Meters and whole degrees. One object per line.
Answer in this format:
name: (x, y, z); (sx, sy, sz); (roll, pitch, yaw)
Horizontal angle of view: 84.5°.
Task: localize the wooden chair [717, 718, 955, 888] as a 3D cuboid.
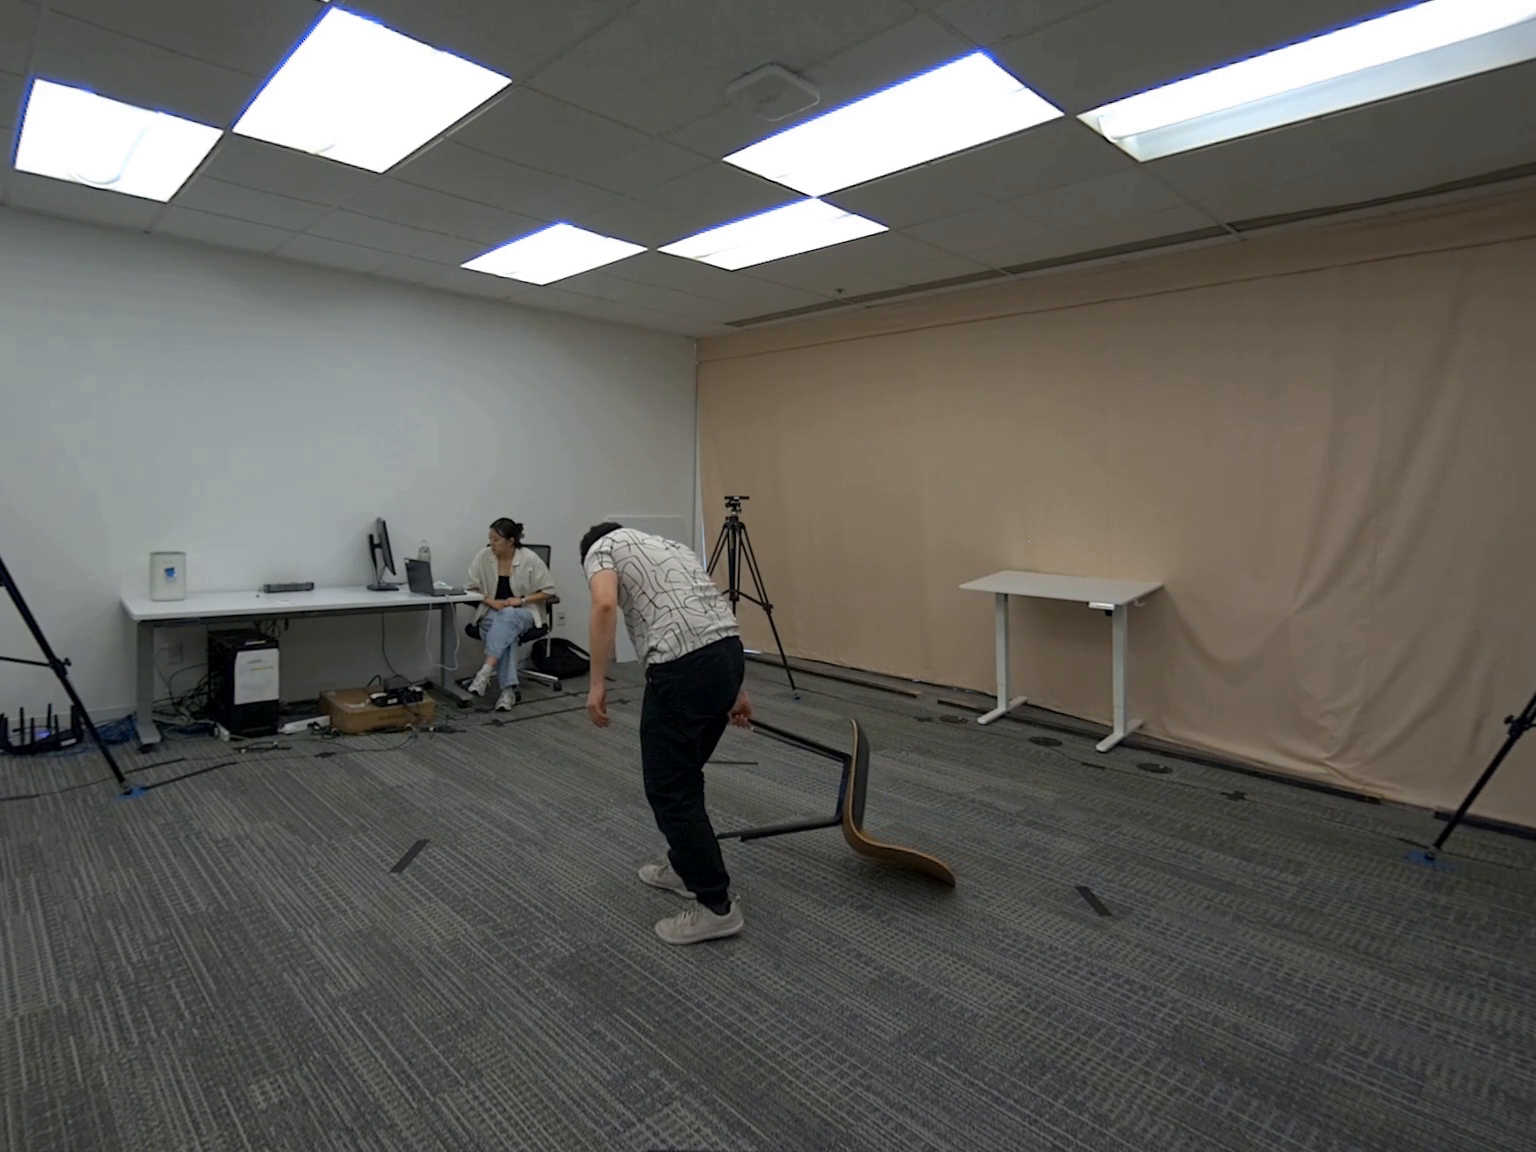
wooden chair: (0.294, 0.819, 3.193); (0.889, 0.527, 0.468); (8, -15, 14)
